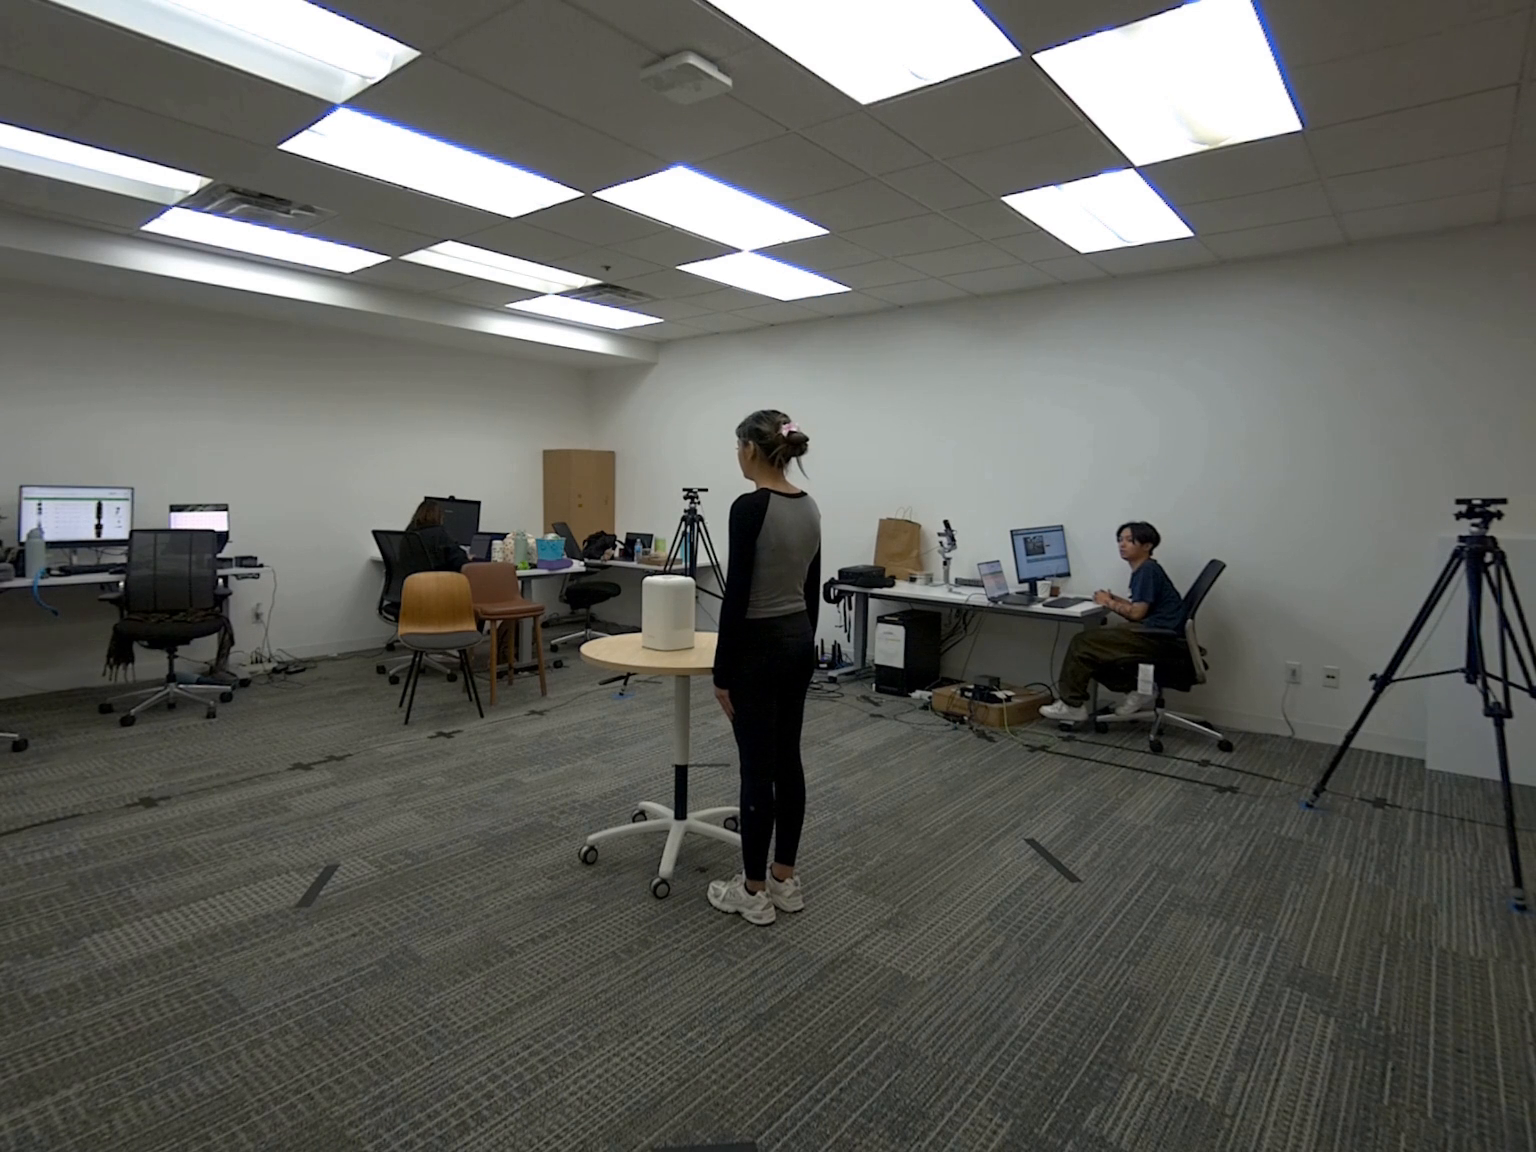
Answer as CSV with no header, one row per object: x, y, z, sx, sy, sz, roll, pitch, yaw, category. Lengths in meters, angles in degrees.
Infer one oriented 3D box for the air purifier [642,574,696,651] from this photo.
-0.386,0.132,3.204,0.177,0.265,0.166,3,4,45,air purifier
